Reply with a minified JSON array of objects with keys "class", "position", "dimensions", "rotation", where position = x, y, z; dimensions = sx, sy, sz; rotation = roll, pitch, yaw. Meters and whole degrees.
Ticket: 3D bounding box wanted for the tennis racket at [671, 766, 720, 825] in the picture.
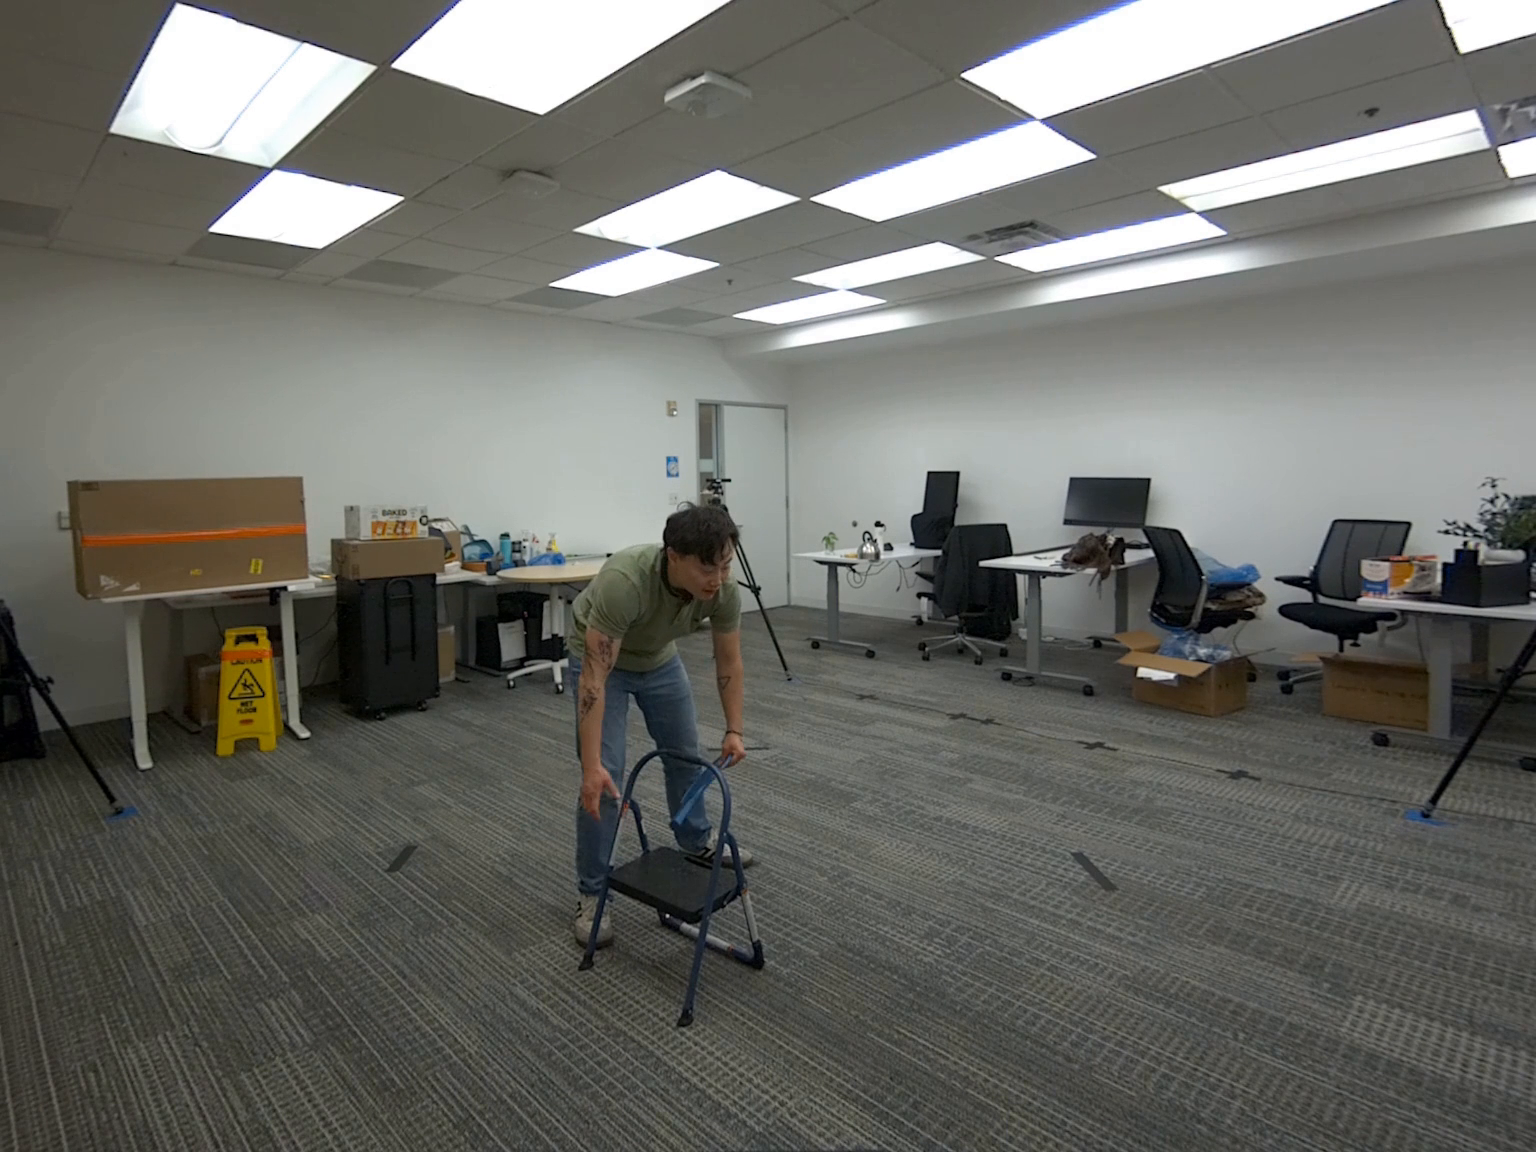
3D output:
[{"class":"tennis racket","position":[-0.221,0.656,2.631],"dimensions":[0.214,0.032,0.432],"rotation":[-44,1,24]}]
